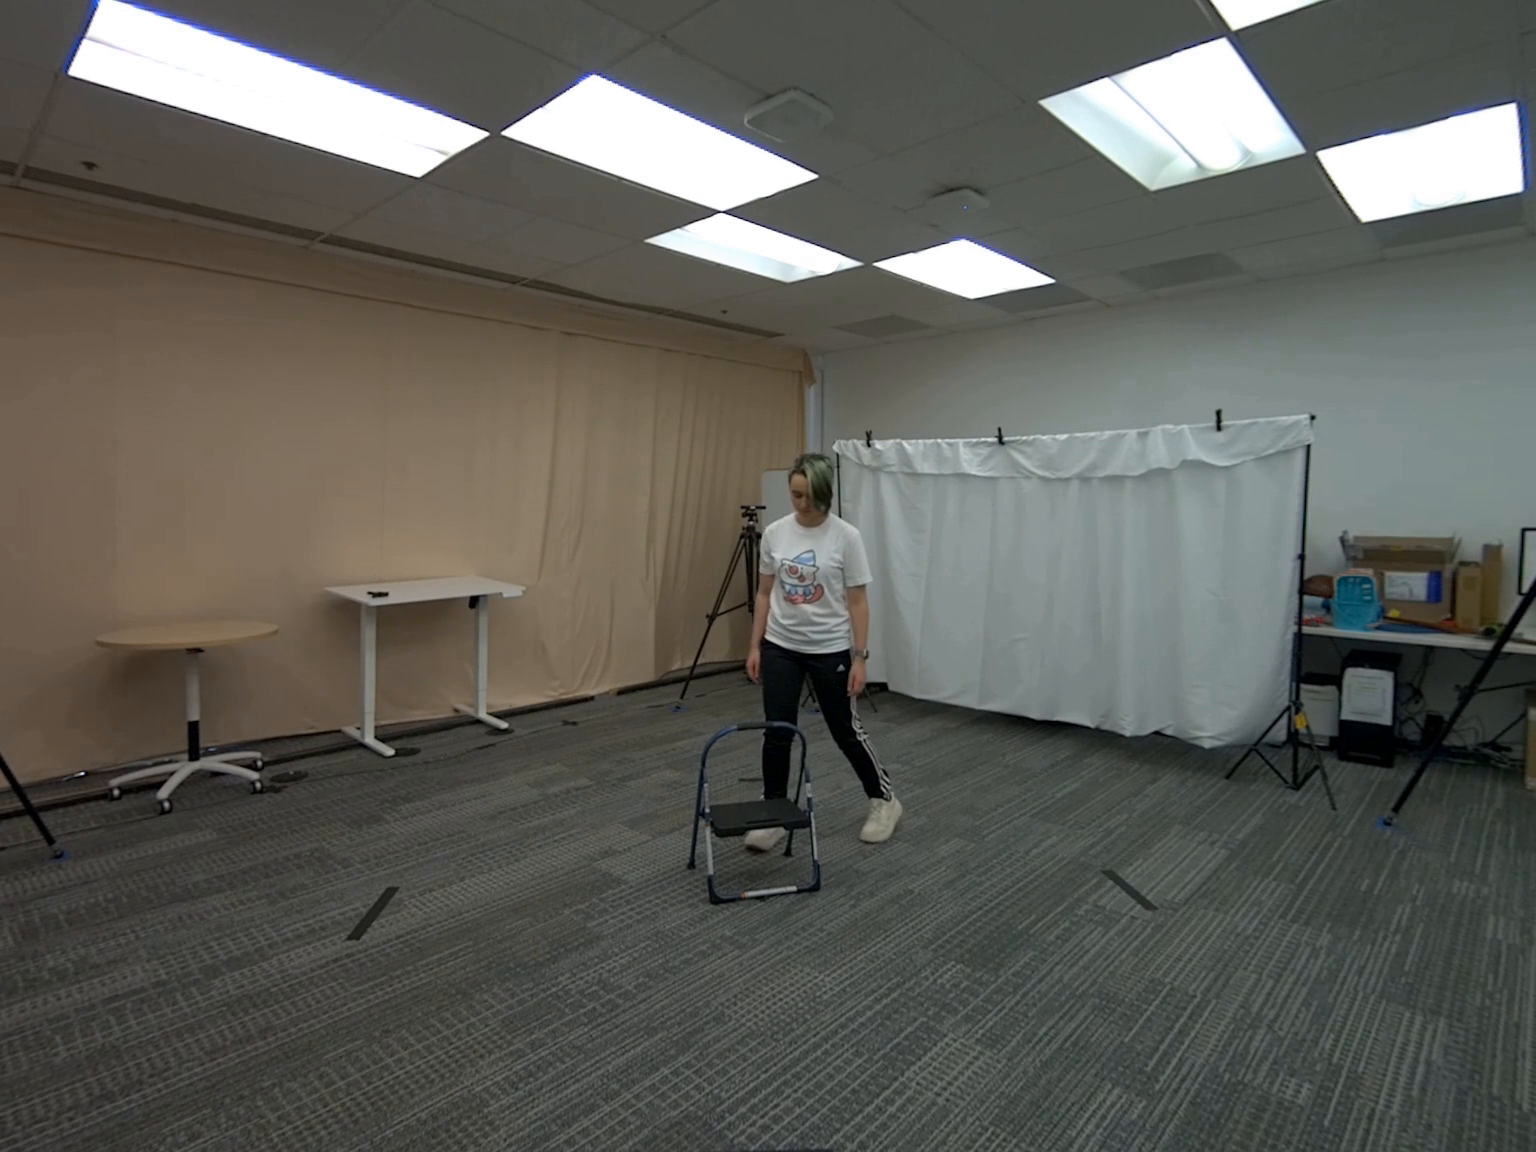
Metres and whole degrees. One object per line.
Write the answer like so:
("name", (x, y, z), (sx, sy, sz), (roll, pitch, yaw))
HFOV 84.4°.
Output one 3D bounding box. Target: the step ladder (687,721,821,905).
("step ladder", (-0.059, 0.830, 3.134), (0.423, 0.604, 0.356), (-2, 4, -17))
